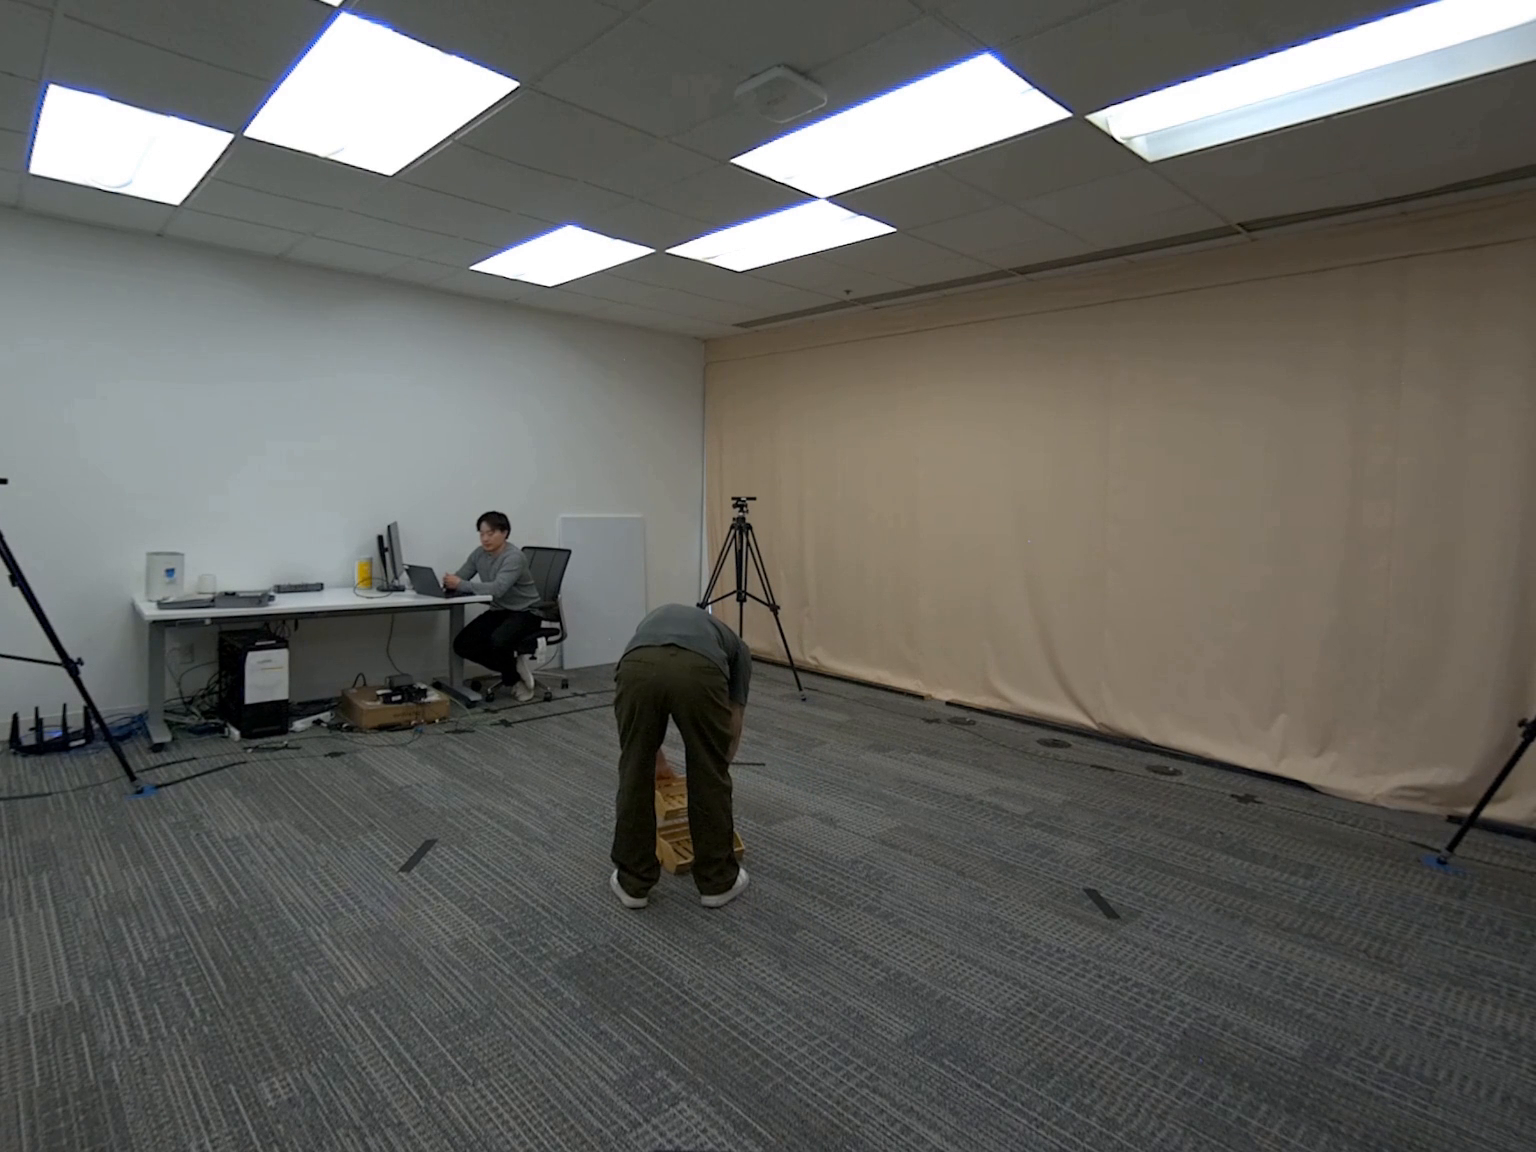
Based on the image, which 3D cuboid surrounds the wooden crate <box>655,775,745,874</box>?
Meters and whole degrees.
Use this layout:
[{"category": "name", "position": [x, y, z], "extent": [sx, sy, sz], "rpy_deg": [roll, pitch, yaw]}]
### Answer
[{"category": "wooden crate", "position": [-0.297, 0.953, 3.283], "extent": [0.318, 0.273, 0.309], "rpy_deg": [-1, 4, -32]}]
